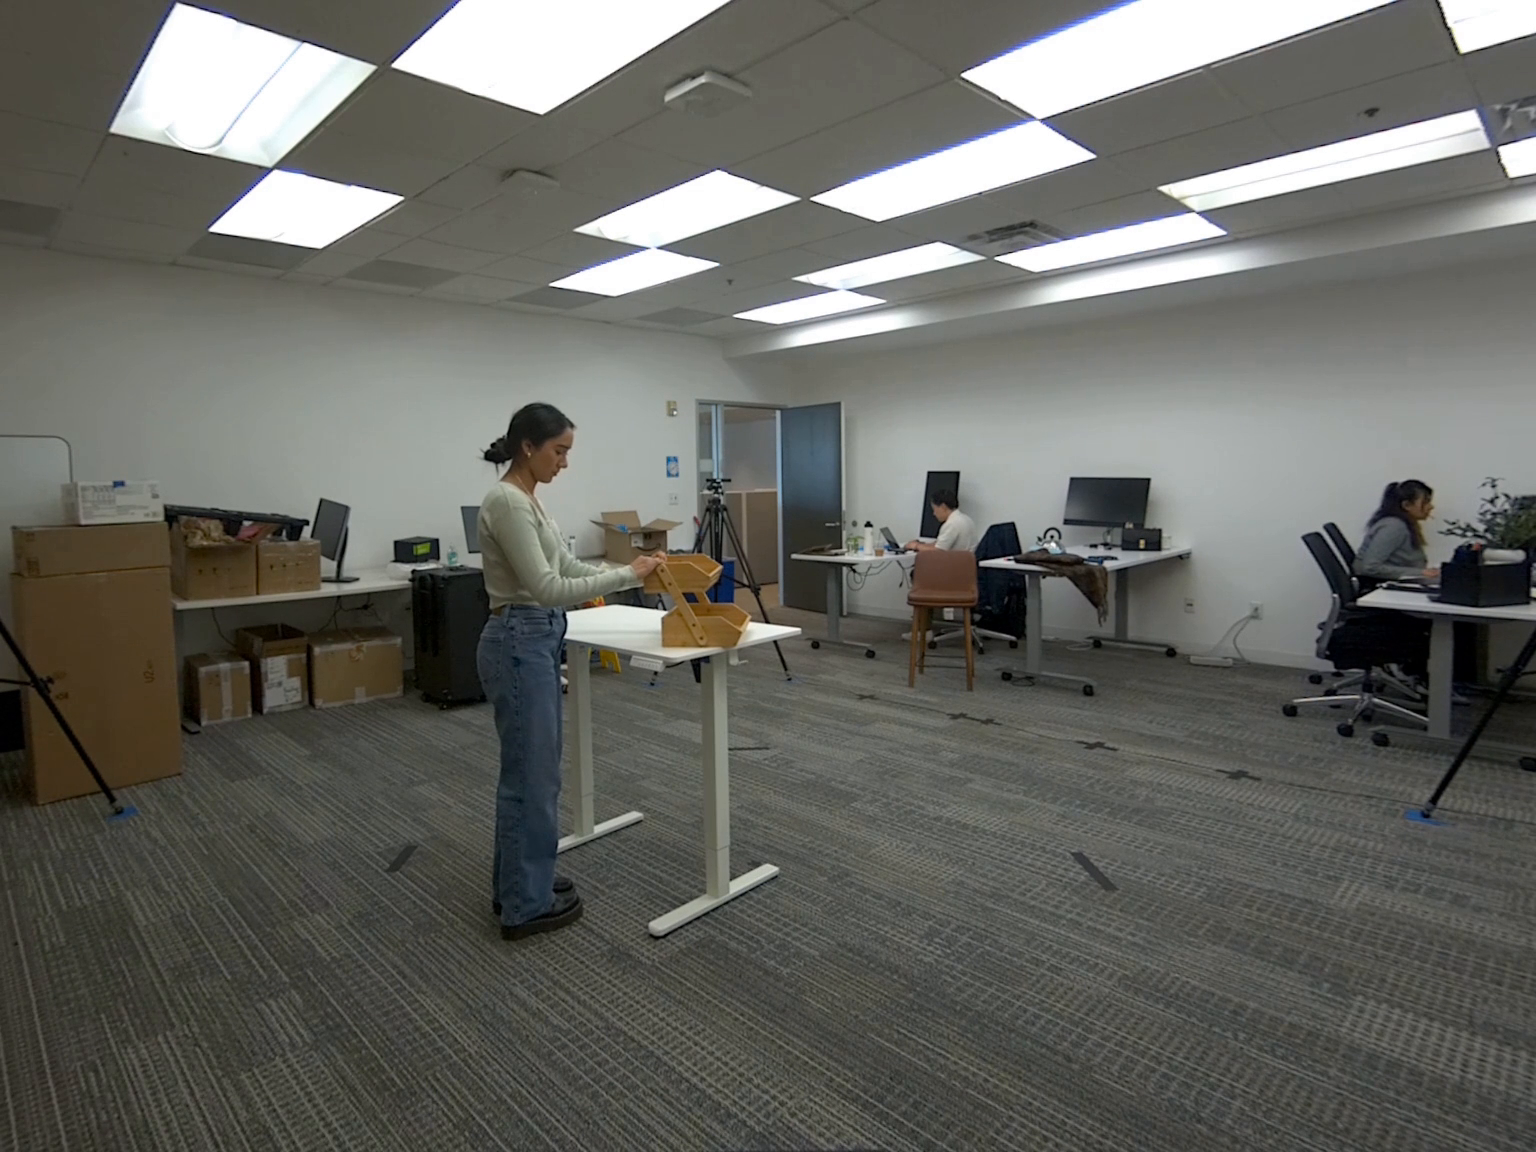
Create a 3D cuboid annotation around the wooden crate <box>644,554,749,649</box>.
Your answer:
[{"bbox_3d":[-0.222,0.068,2.759,0.304,0.272,0.323,-1,4,7],"label":"wooden crate"}]
